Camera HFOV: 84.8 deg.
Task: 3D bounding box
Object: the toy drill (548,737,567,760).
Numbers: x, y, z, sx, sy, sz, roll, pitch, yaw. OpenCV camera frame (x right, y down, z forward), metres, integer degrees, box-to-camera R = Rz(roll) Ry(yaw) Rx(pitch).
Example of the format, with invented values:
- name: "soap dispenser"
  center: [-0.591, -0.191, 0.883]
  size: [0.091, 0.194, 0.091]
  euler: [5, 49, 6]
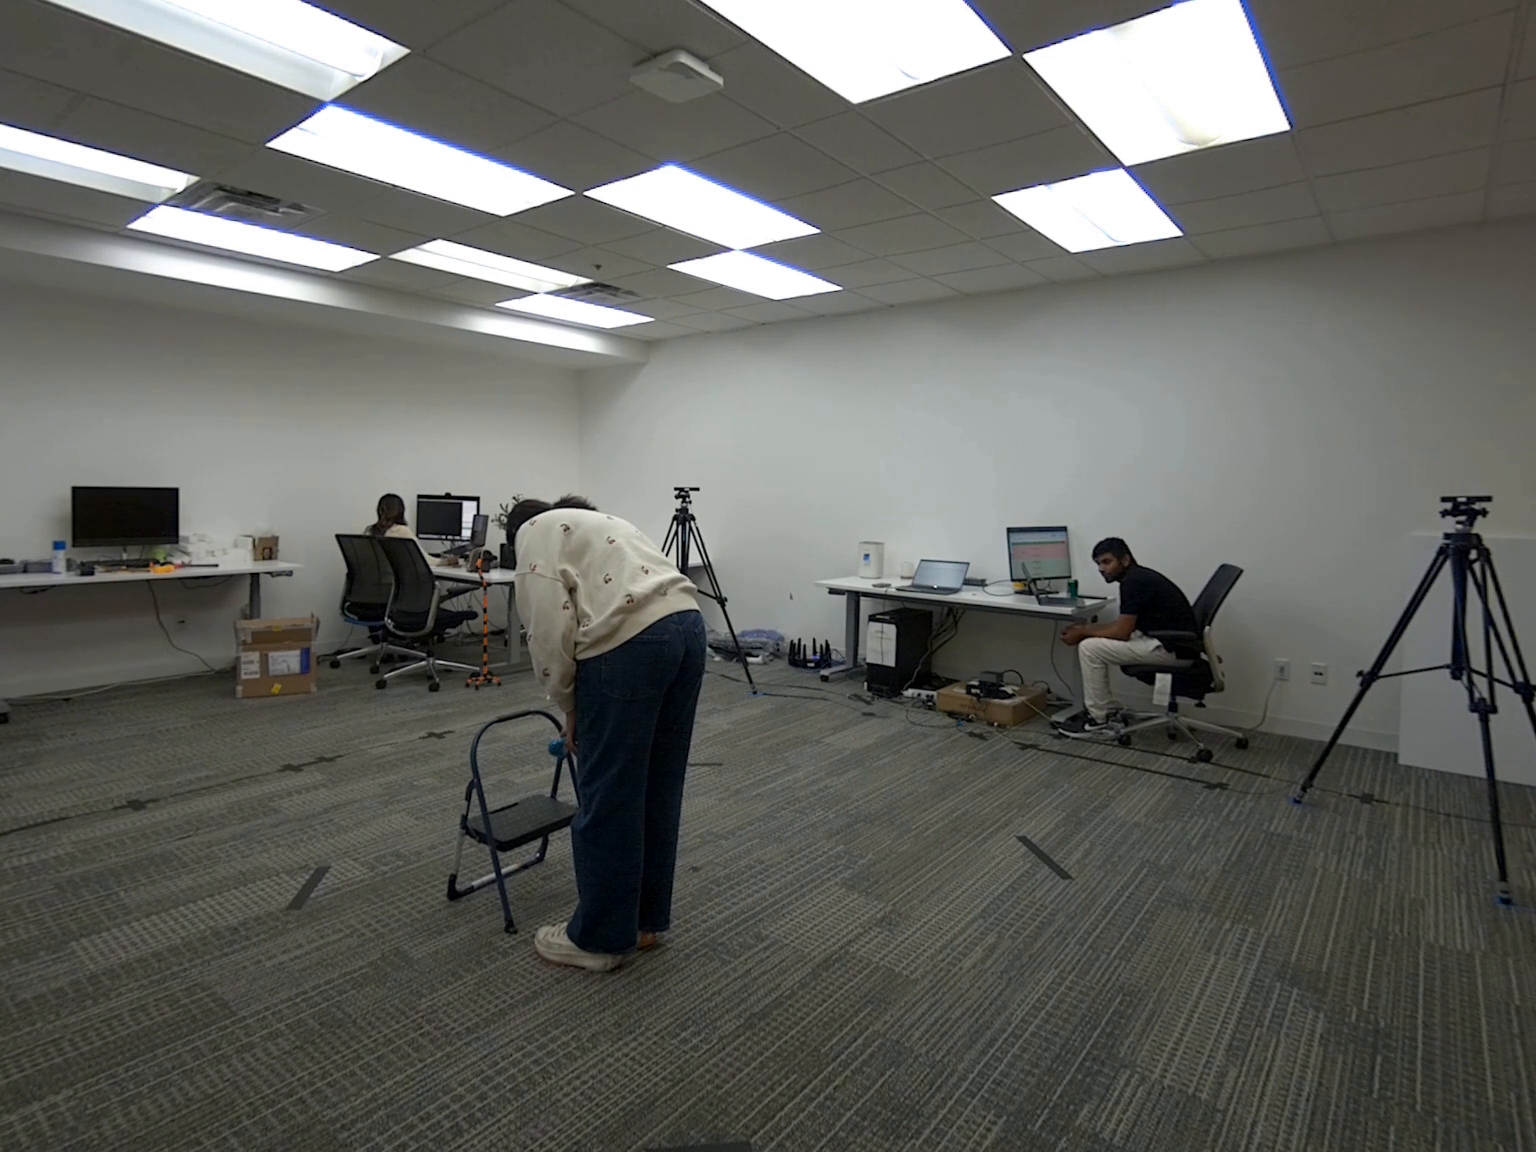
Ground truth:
- name: "toy drill"
  center: [-0.707, 0.575, 2.961]
  size: [0.145, 0.063, 0.166]
  euler: [-31, -19, -8]
